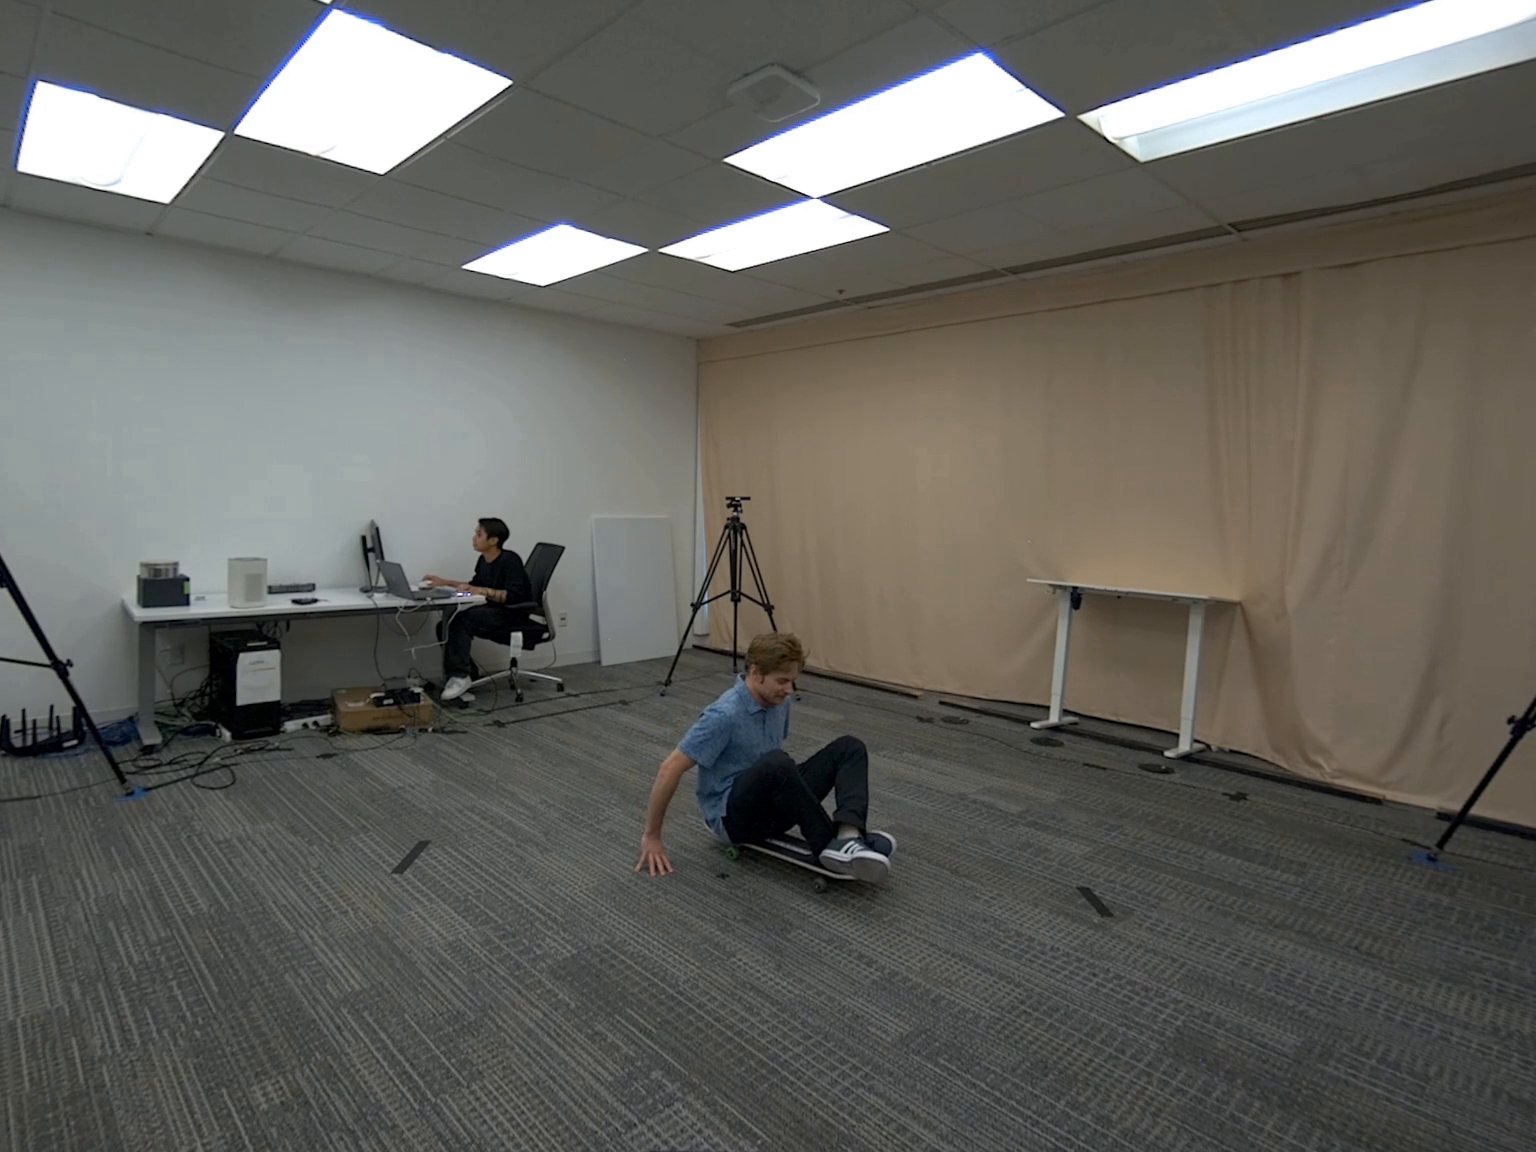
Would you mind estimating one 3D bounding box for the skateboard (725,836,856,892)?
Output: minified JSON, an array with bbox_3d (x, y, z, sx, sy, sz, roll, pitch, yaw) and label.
[{"bbox_3d":[0.082,1.059,3.181,0.804,0.110,0.189,3,1,35],"label":"skateboard"}]
